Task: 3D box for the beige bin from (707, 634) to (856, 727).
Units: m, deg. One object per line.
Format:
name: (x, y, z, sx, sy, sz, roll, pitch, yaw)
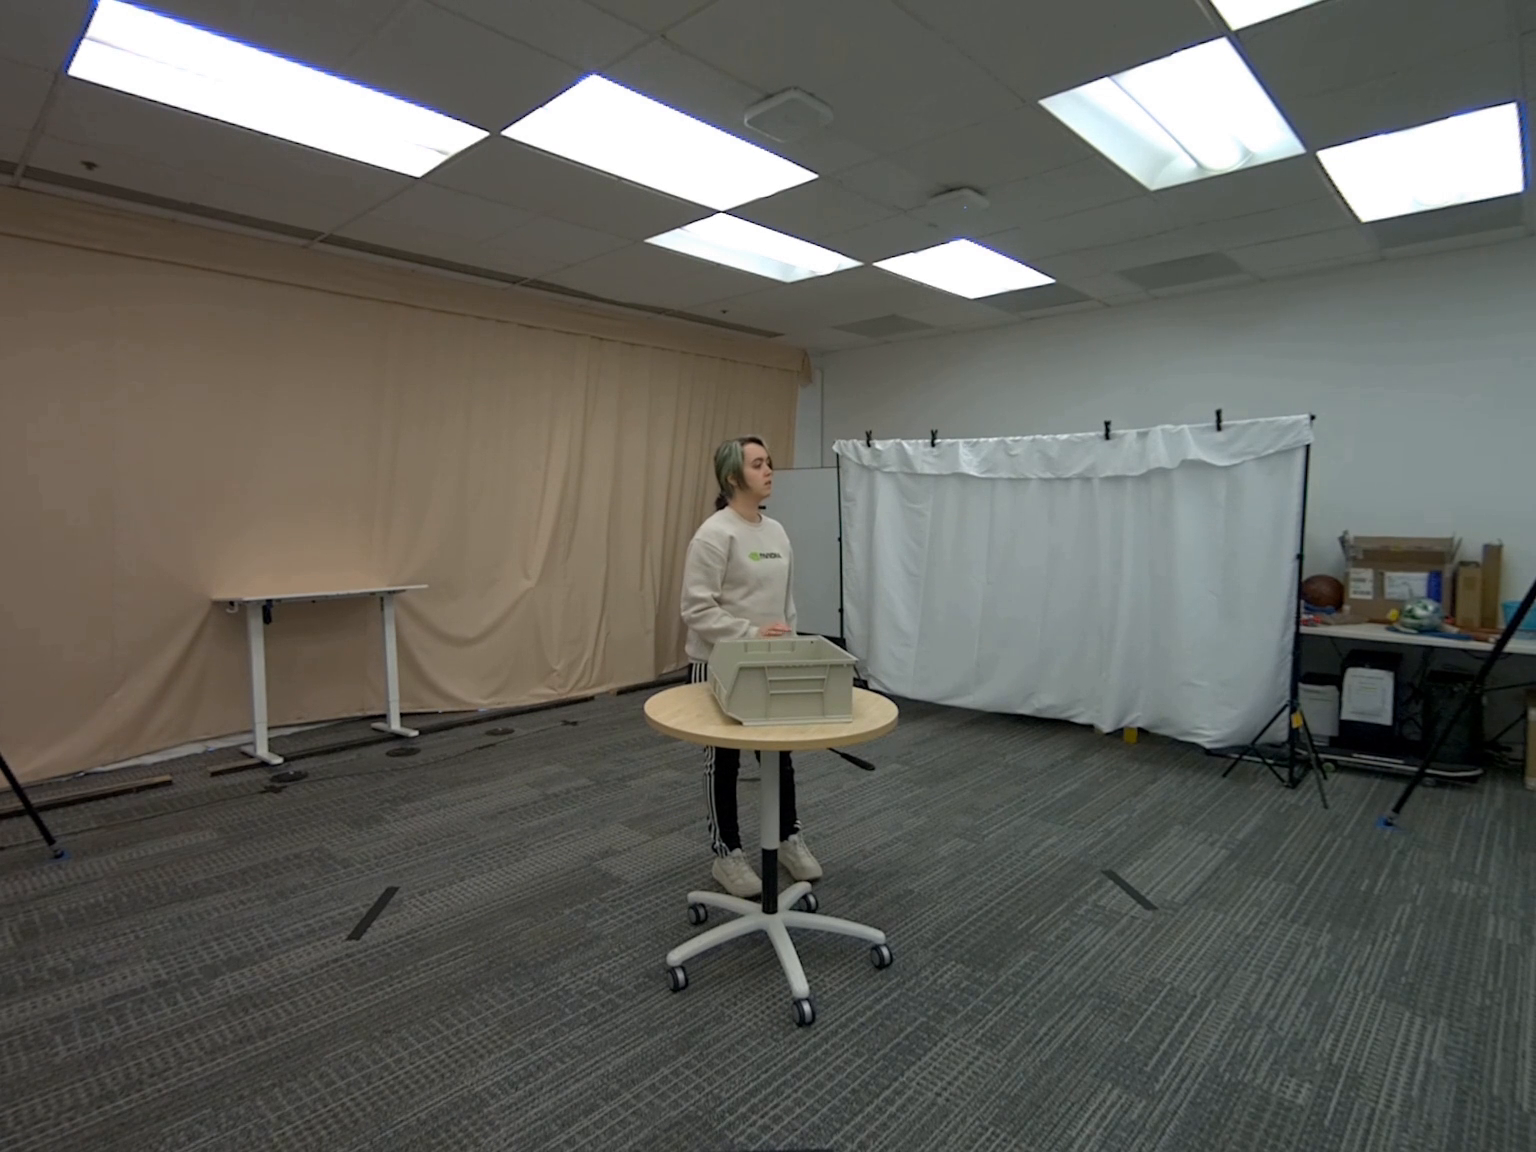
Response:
beige bin: (0.024, 0.324, 2.540, 0.375, 0.188, 0.427, -5, 5, -8)
